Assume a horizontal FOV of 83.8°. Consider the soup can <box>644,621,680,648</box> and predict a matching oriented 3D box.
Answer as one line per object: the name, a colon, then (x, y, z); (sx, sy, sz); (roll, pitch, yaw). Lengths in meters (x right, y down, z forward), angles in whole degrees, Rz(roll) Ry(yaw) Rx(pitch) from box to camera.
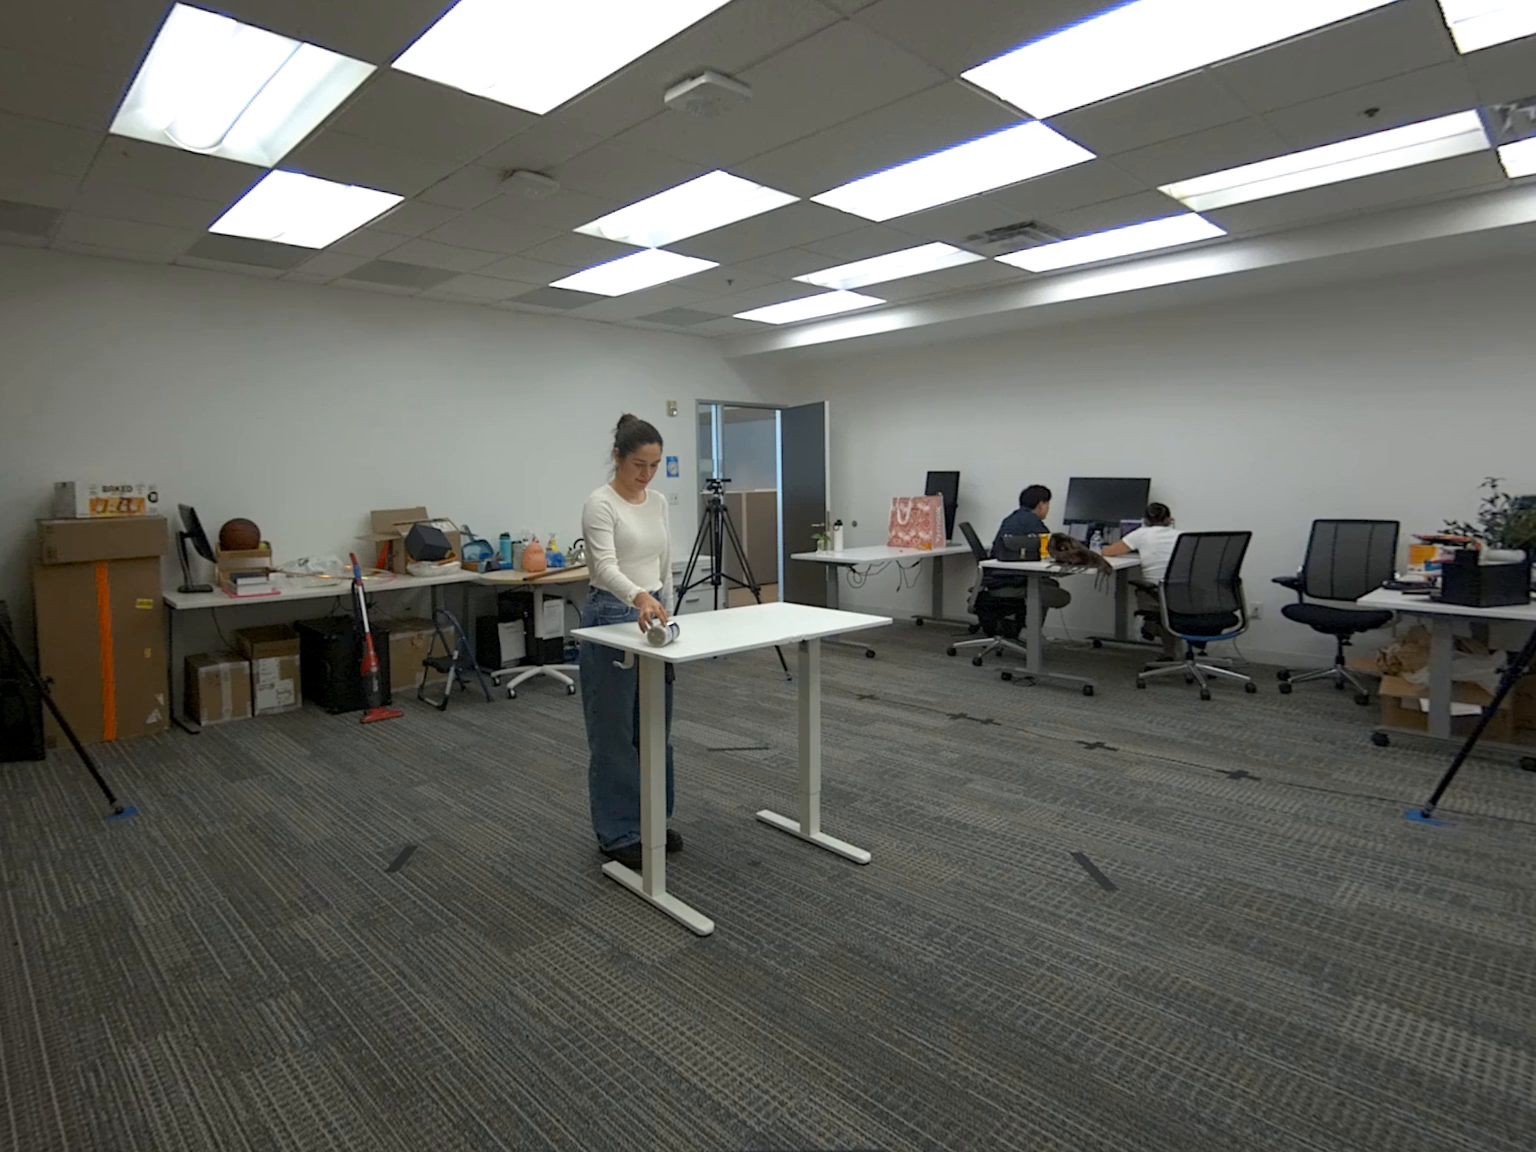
soup can: (-0.326, 0.180, 2.677); (0.068, 0.067, 0.120); (0, 5, 11)
